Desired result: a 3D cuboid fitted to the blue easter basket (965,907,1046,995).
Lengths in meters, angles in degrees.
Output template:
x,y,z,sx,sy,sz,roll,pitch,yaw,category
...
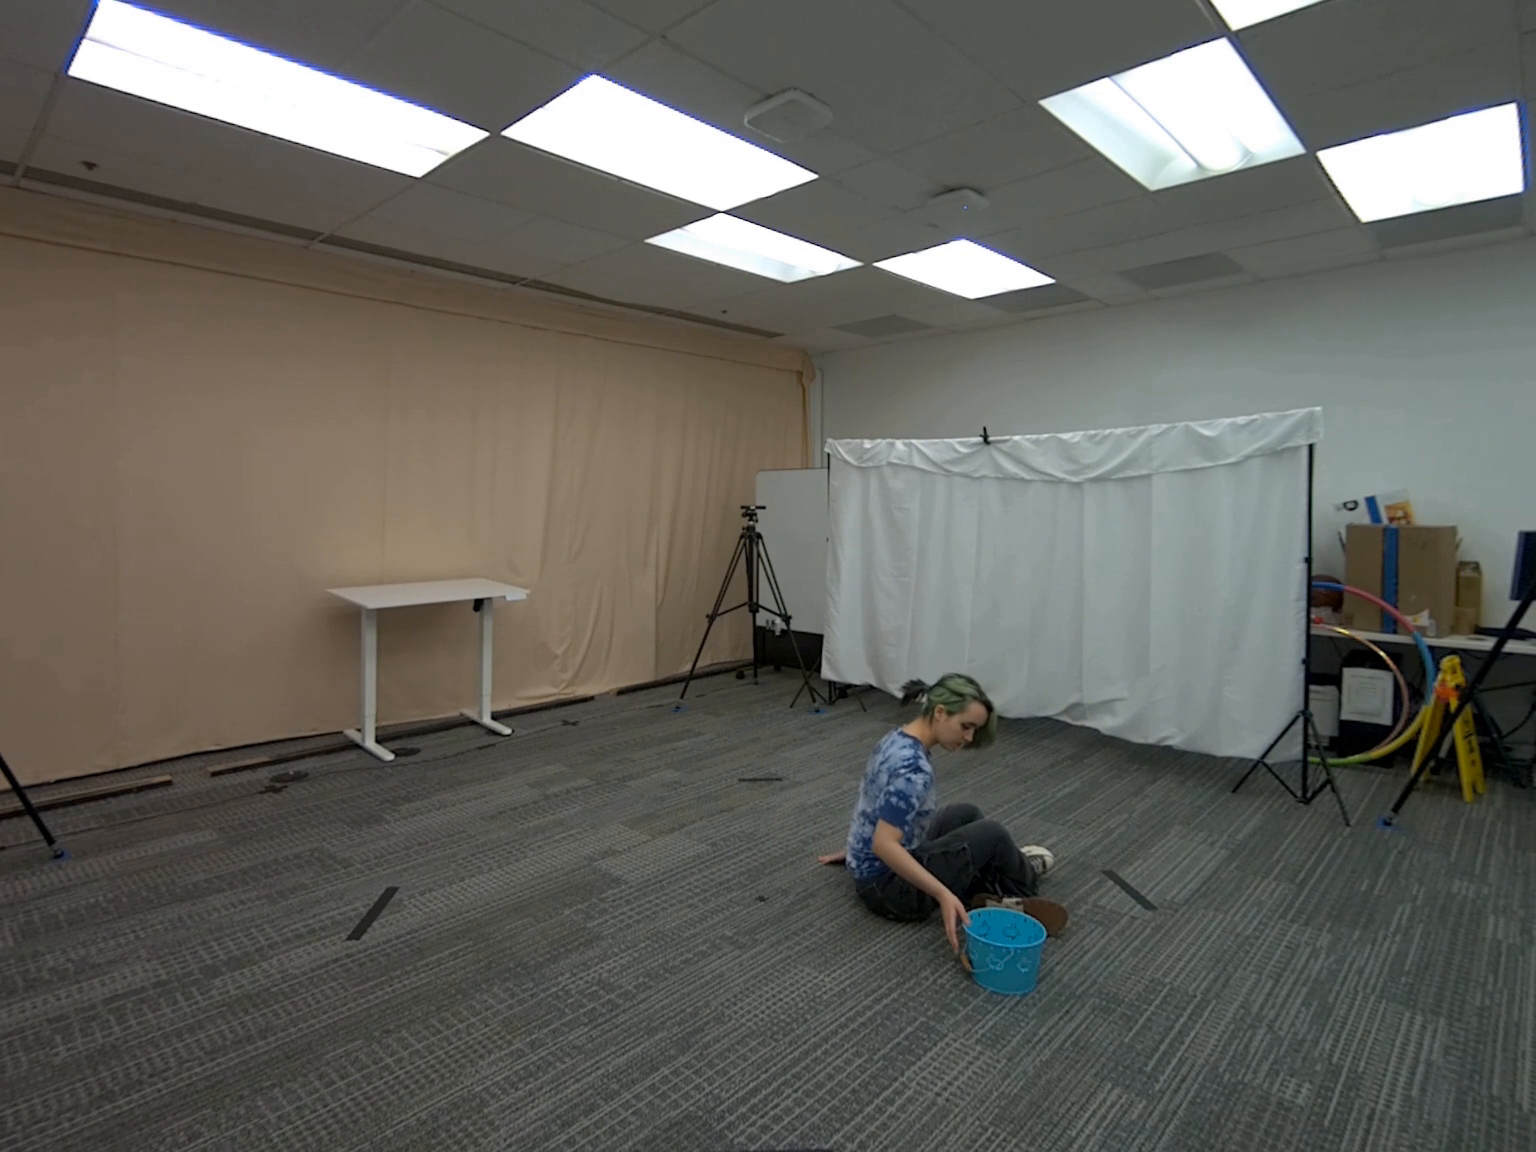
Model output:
x,y,z,sx,sy,sz,roll,pitch,yaw,category
0.703,1.103,2.483,0.243,0.155,0.244,0,5,-2,blue easter basket
